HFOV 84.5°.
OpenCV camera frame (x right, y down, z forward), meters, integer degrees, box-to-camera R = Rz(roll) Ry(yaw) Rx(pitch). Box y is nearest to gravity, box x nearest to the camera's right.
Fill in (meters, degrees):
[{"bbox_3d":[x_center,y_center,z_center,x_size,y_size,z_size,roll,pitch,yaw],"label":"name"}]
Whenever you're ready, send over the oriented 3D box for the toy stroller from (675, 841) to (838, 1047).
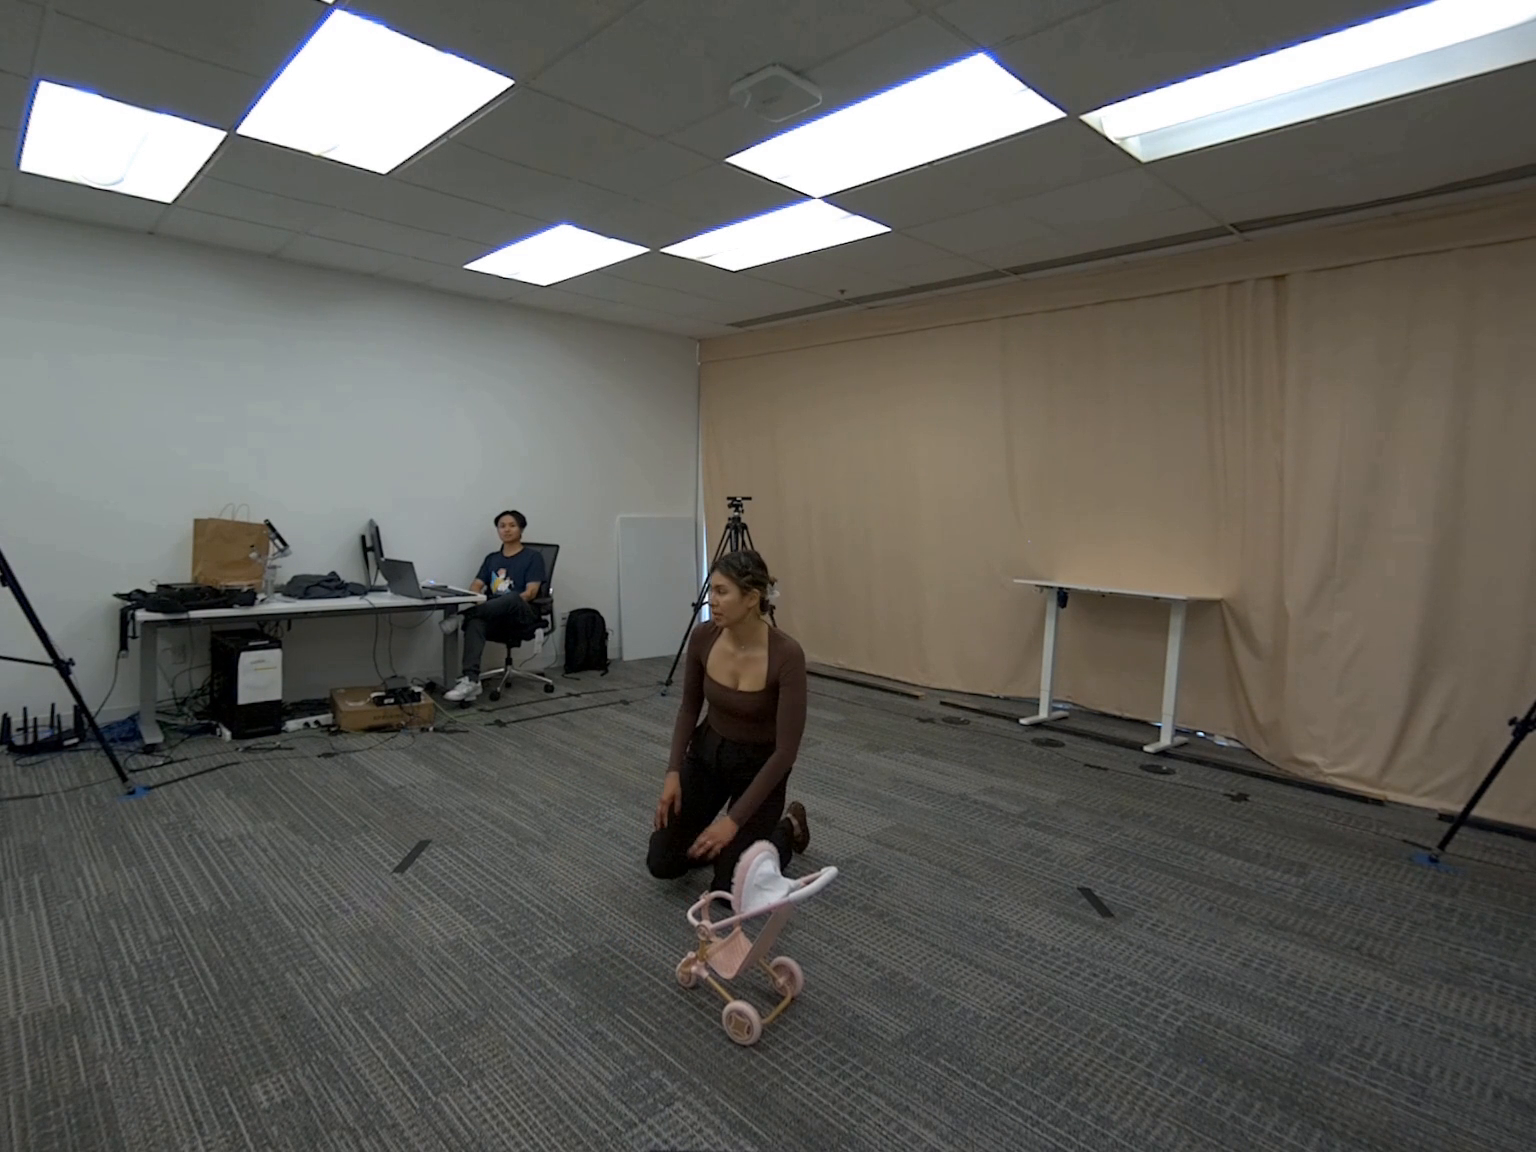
[{"bbox_3d":[-0.063,0.954,2.289,0.351,0.532,0.275,23,13,32],"label":"toy stroller"}]
